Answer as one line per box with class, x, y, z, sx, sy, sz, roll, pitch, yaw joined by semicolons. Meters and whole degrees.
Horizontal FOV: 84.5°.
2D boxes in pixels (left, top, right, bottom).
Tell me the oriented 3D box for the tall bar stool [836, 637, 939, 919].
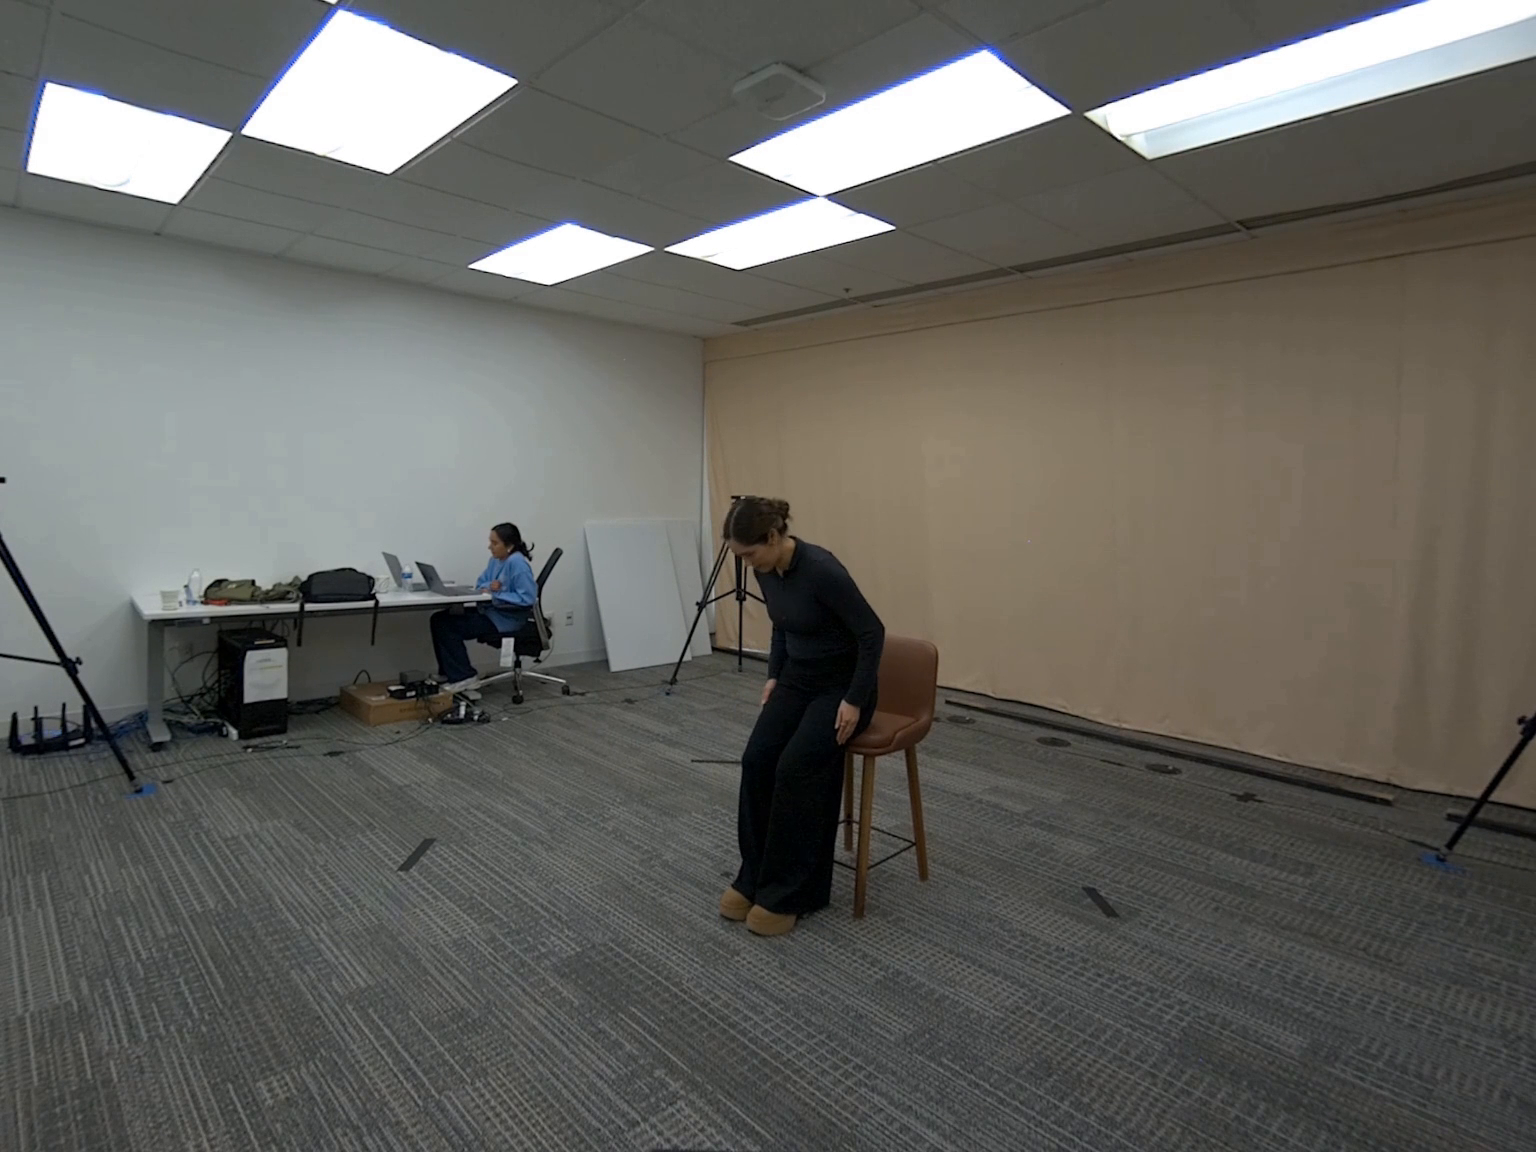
tall bar stool;0.321;0.682;3.062;0.468;0.888;0.456;5;4;44
